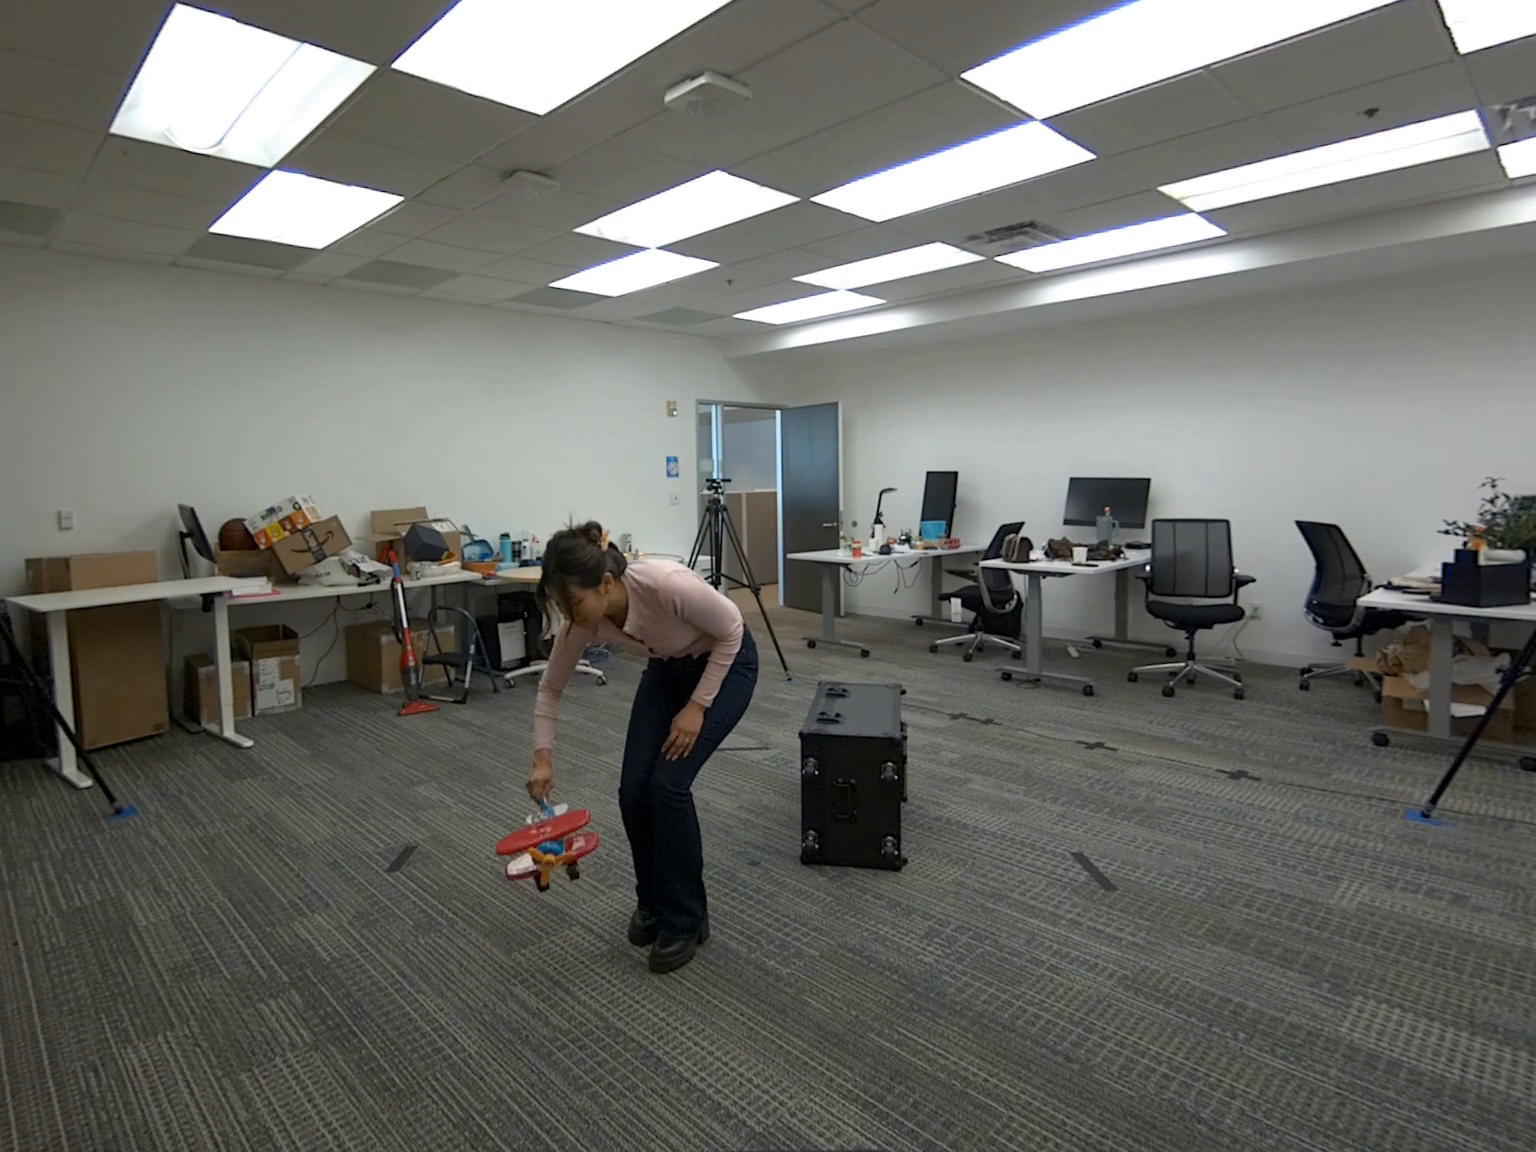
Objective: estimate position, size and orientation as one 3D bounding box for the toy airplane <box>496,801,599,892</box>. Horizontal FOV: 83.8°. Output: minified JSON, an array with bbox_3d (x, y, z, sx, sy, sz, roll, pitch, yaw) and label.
[{"bbox_3d":[-0.609,0.710,2.300,0.269,0.152,0.249,22,44,40],"label":"toy airplane"}]
